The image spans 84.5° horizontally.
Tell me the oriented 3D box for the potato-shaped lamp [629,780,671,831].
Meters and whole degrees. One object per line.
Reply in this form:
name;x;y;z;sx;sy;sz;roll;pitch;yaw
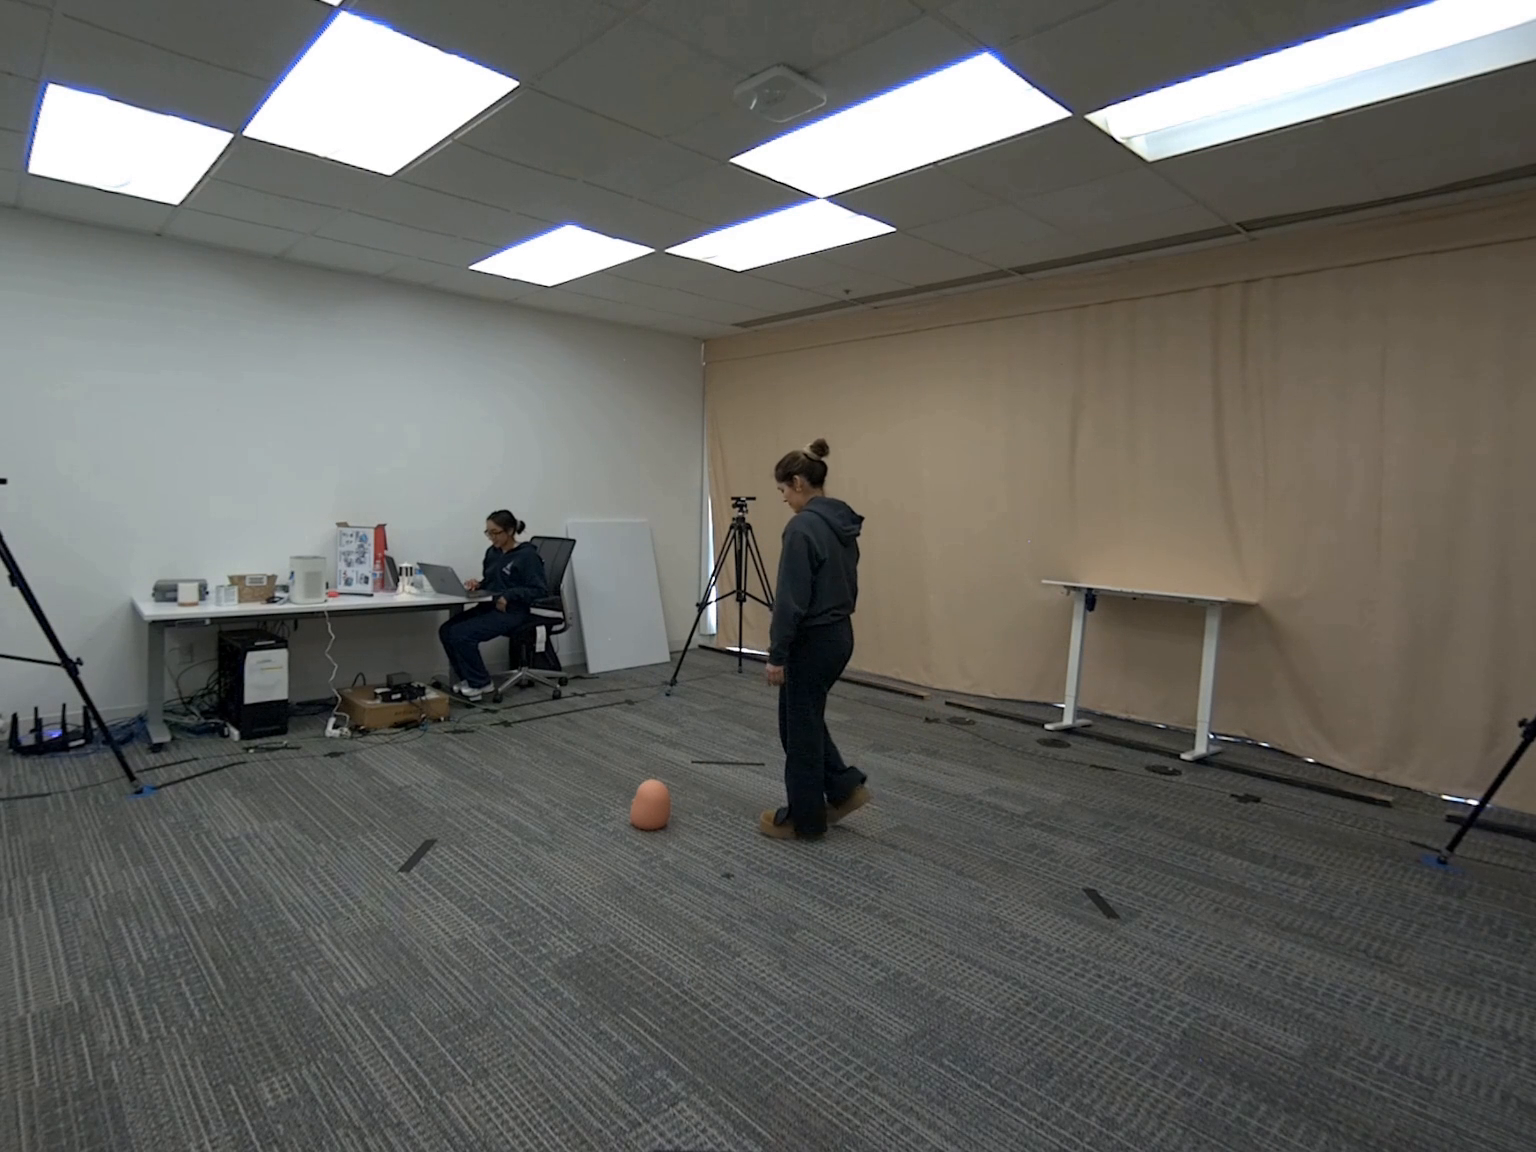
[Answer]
potato-shaped lamp;-0.501;0.953;3.566;0.161;0.198;0.176;0;4;-42
